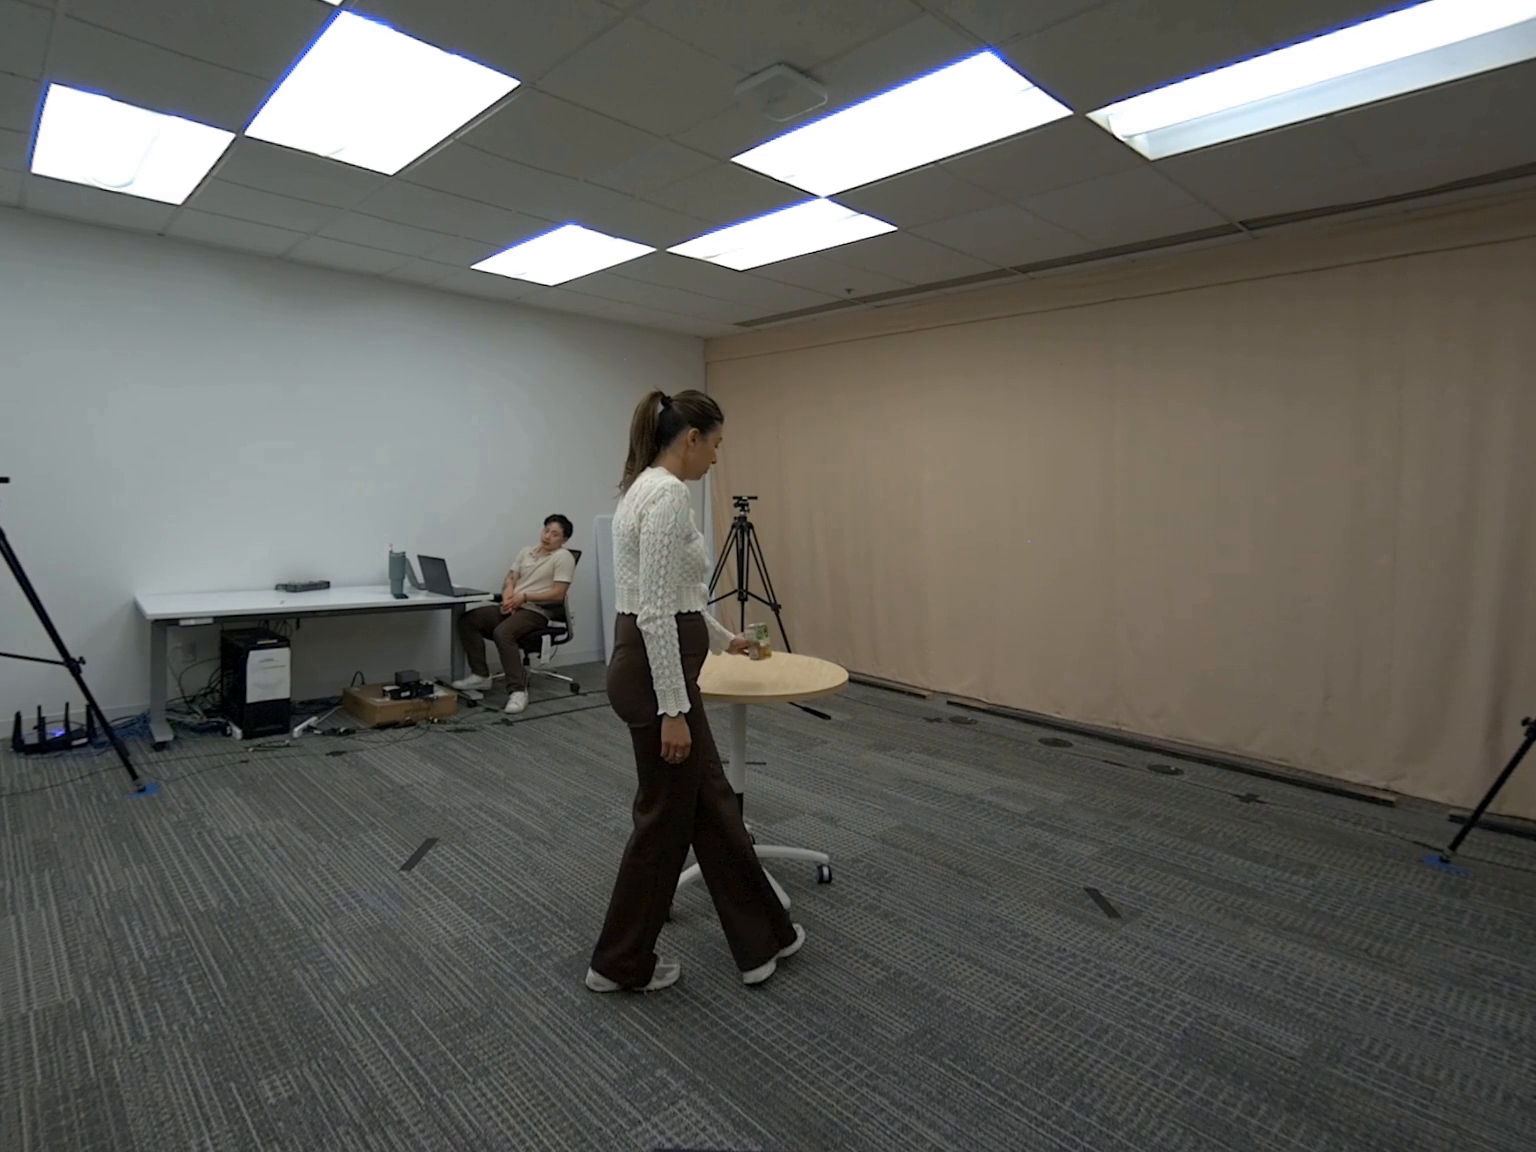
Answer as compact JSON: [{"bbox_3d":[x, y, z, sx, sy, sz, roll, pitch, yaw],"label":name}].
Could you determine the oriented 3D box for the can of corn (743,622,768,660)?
[{"bbox_3d":[-0.071,0.224,2.766,0.074,0.111,0.074,-4,4,-1],"label":"can of corn"}]
